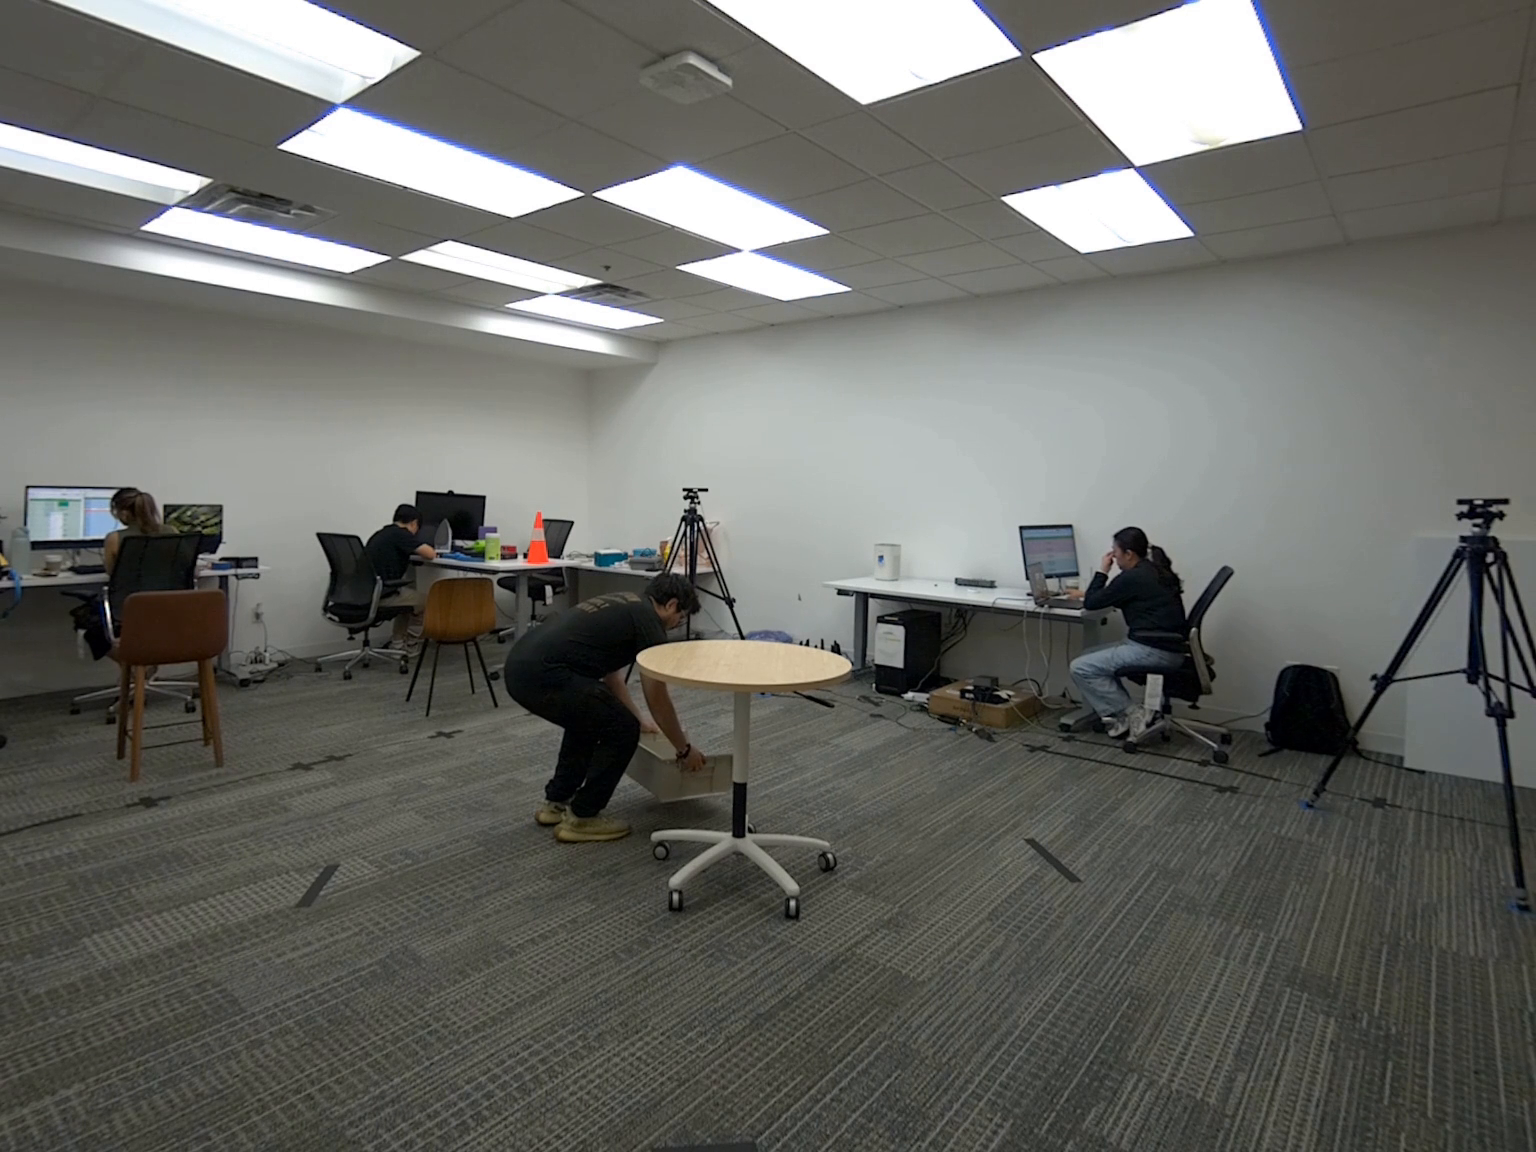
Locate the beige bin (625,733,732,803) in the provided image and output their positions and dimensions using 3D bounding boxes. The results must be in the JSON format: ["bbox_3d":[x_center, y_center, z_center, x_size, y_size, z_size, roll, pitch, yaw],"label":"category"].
[{"bbox_3d":[-0.411,0.811,3.705,0.366,0.188,0.436,1,5,-34],"label":"beige bin"}]
